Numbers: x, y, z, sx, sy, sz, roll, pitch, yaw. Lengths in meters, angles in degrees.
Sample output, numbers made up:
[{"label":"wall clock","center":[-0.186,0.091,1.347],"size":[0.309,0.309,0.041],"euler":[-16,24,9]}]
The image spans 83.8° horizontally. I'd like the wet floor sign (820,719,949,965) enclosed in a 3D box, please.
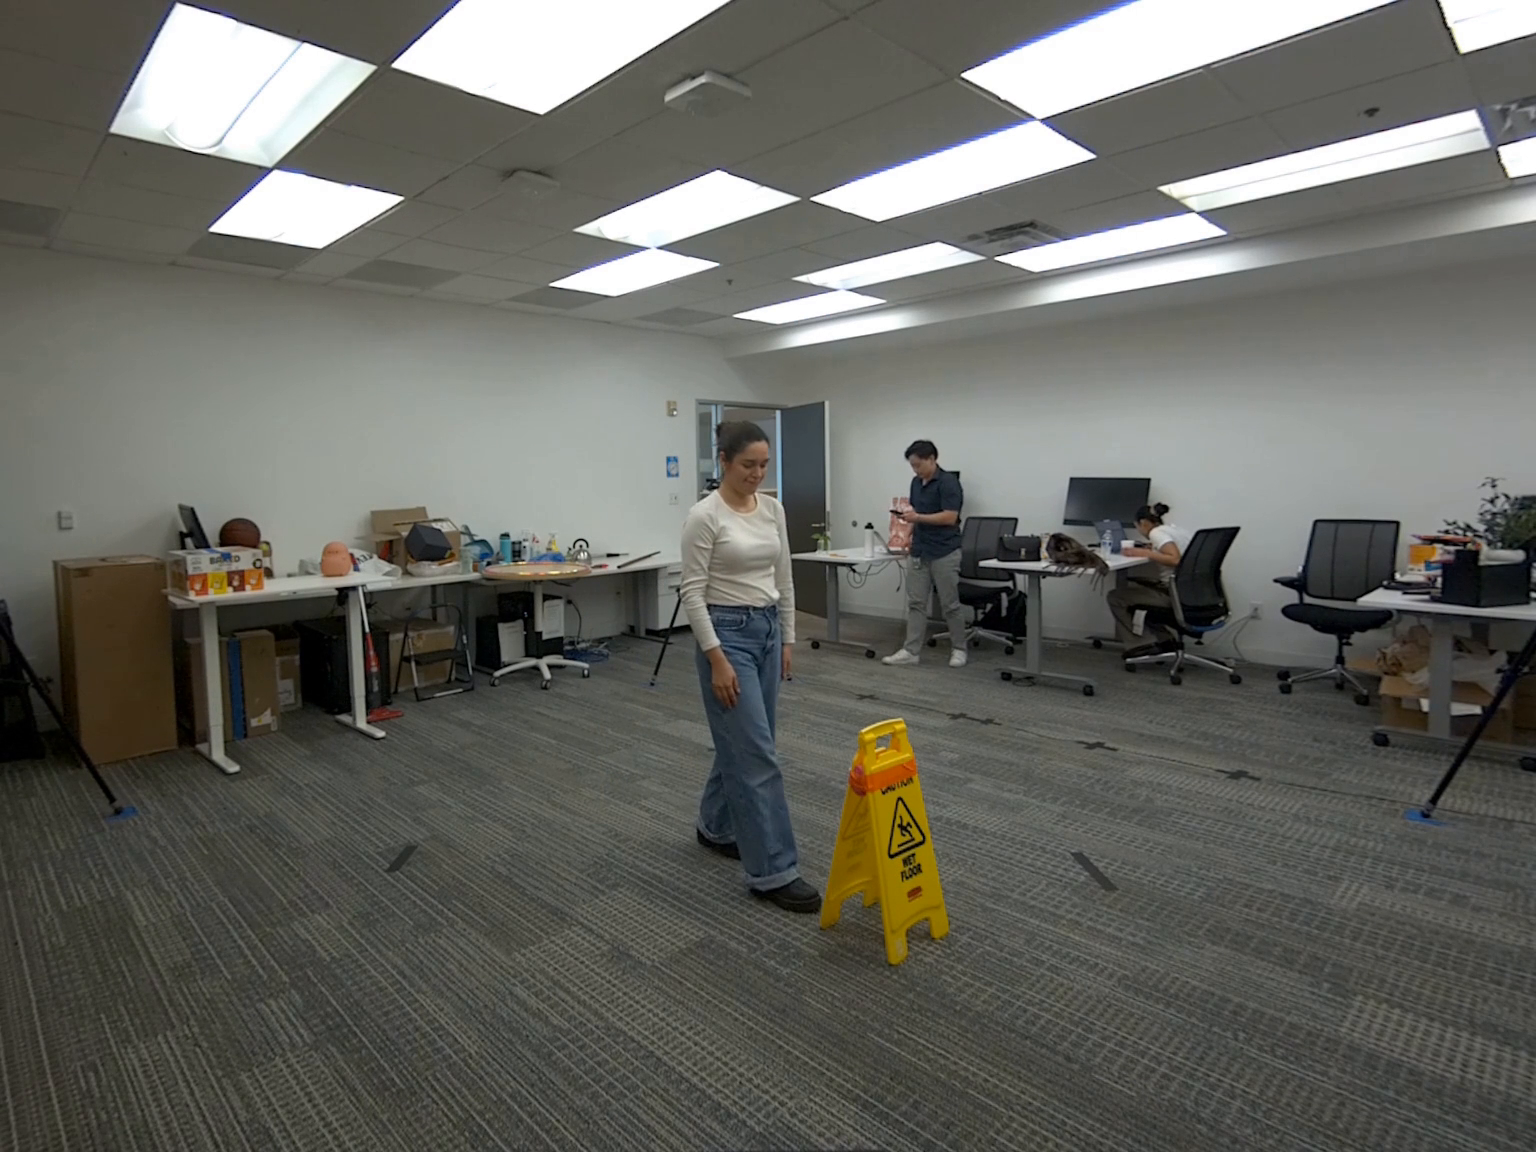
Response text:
[{"label":"wet floor sign","center":[0.359,0.771,2.608],"size":[0.275,0.643,0.299],"euler":[-6,7,-42]}]
